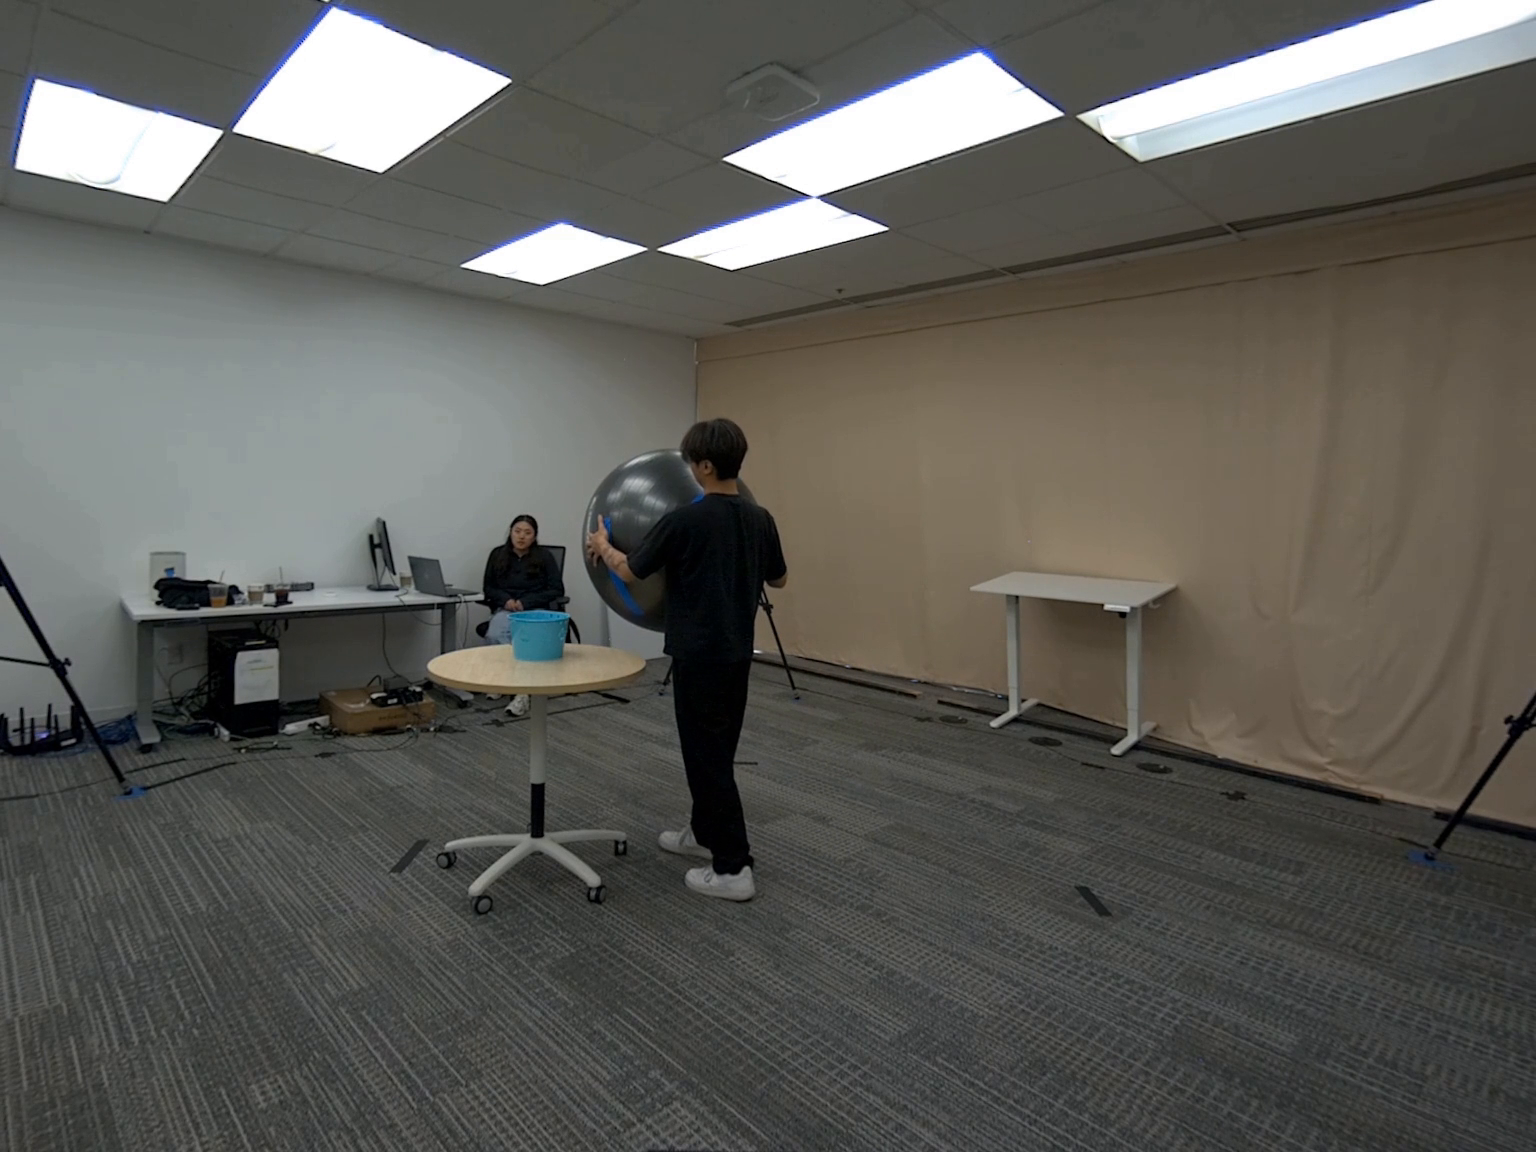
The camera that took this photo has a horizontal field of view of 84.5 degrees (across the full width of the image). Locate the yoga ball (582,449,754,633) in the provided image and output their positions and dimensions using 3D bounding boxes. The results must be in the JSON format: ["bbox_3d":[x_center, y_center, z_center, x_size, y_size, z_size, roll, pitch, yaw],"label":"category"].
[{"bbox_3d":[-0.398,-0.140,3.496,0.757,0.756,0.761,1,4,-1],"label":"yoga ball"}]
